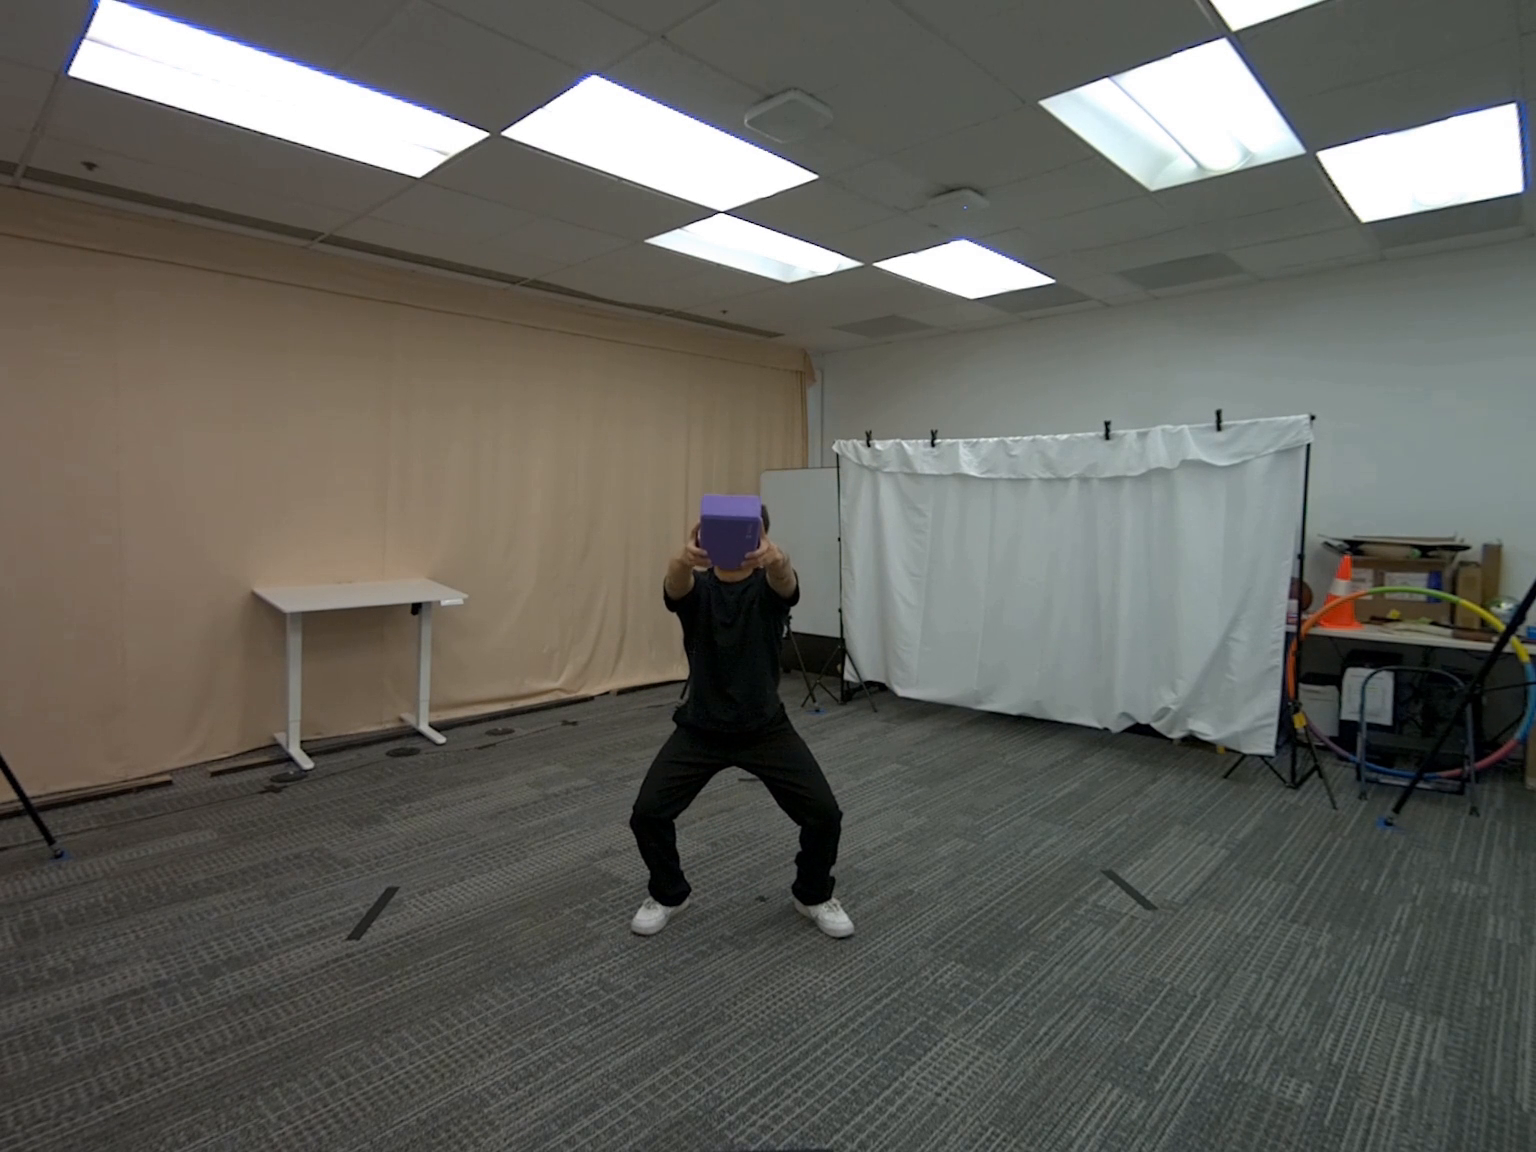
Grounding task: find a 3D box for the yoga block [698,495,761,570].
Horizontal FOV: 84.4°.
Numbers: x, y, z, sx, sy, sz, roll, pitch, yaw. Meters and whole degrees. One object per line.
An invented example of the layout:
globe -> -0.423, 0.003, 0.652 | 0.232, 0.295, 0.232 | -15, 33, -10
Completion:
yoga block -> -0.103, -0.122, 2.148 | 0.148, 0.078, 0.226 | 3, -34, -4
